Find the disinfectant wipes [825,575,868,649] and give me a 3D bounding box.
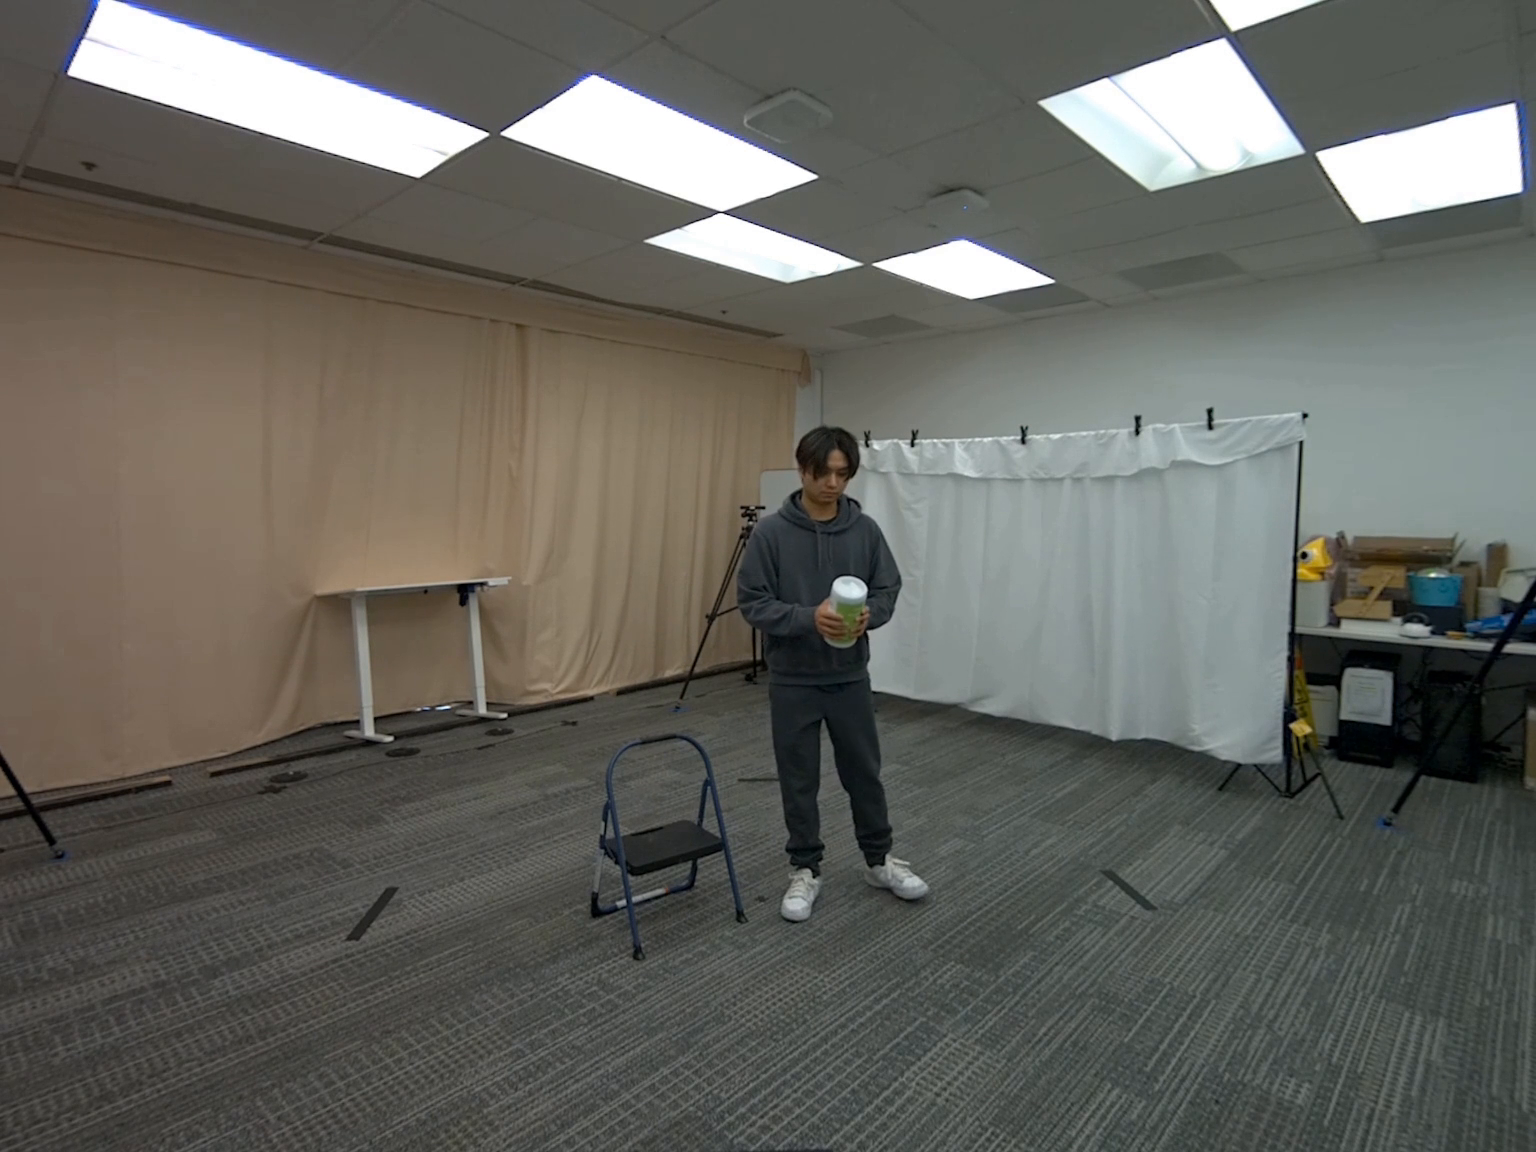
[{"bbox_3d":[0.248,0.115,2.673,0.117,0.214,0.120,3,40,-4],"label":"disinfectant wipes"}]
